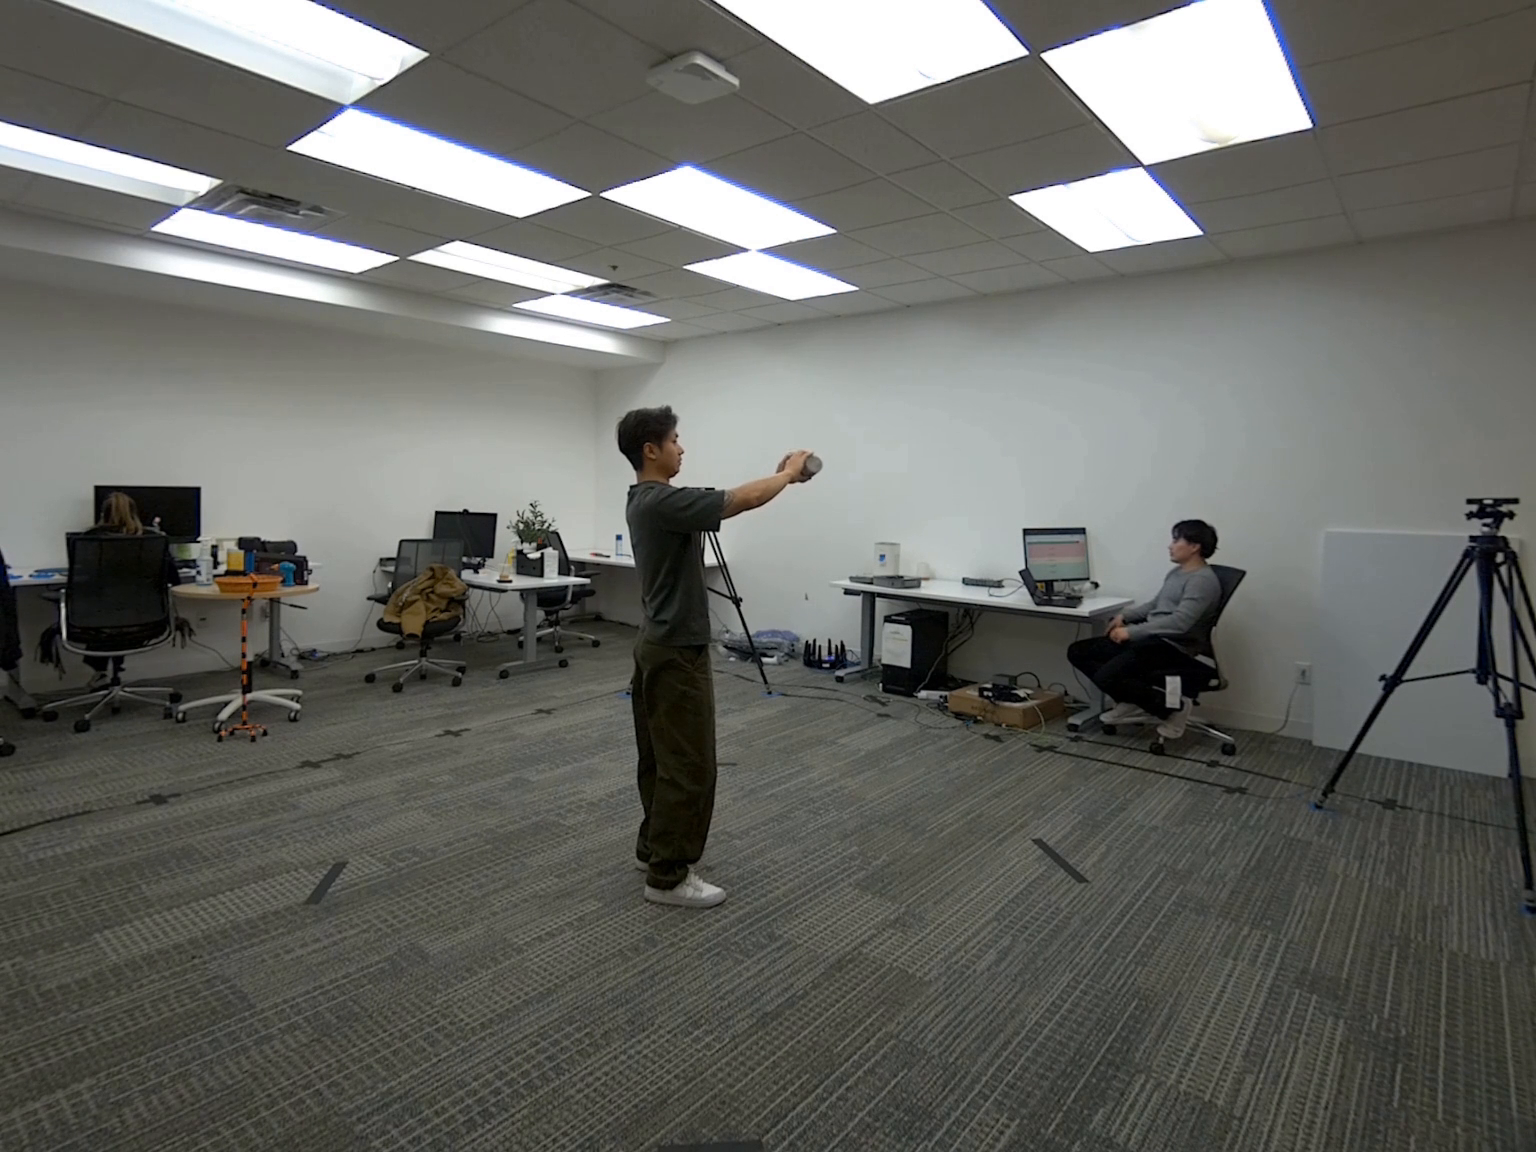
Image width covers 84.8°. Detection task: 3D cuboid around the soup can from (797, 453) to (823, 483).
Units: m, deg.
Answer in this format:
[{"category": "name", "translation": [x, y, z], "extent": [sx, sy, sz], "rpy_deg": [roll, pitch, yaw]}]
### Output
[{"category": "soup can", "translation": [0.131, -0.387, 3.058], "extent": [0.066, 0.068, 0.122], "rpy_deg": [0, -14, -17]}]
